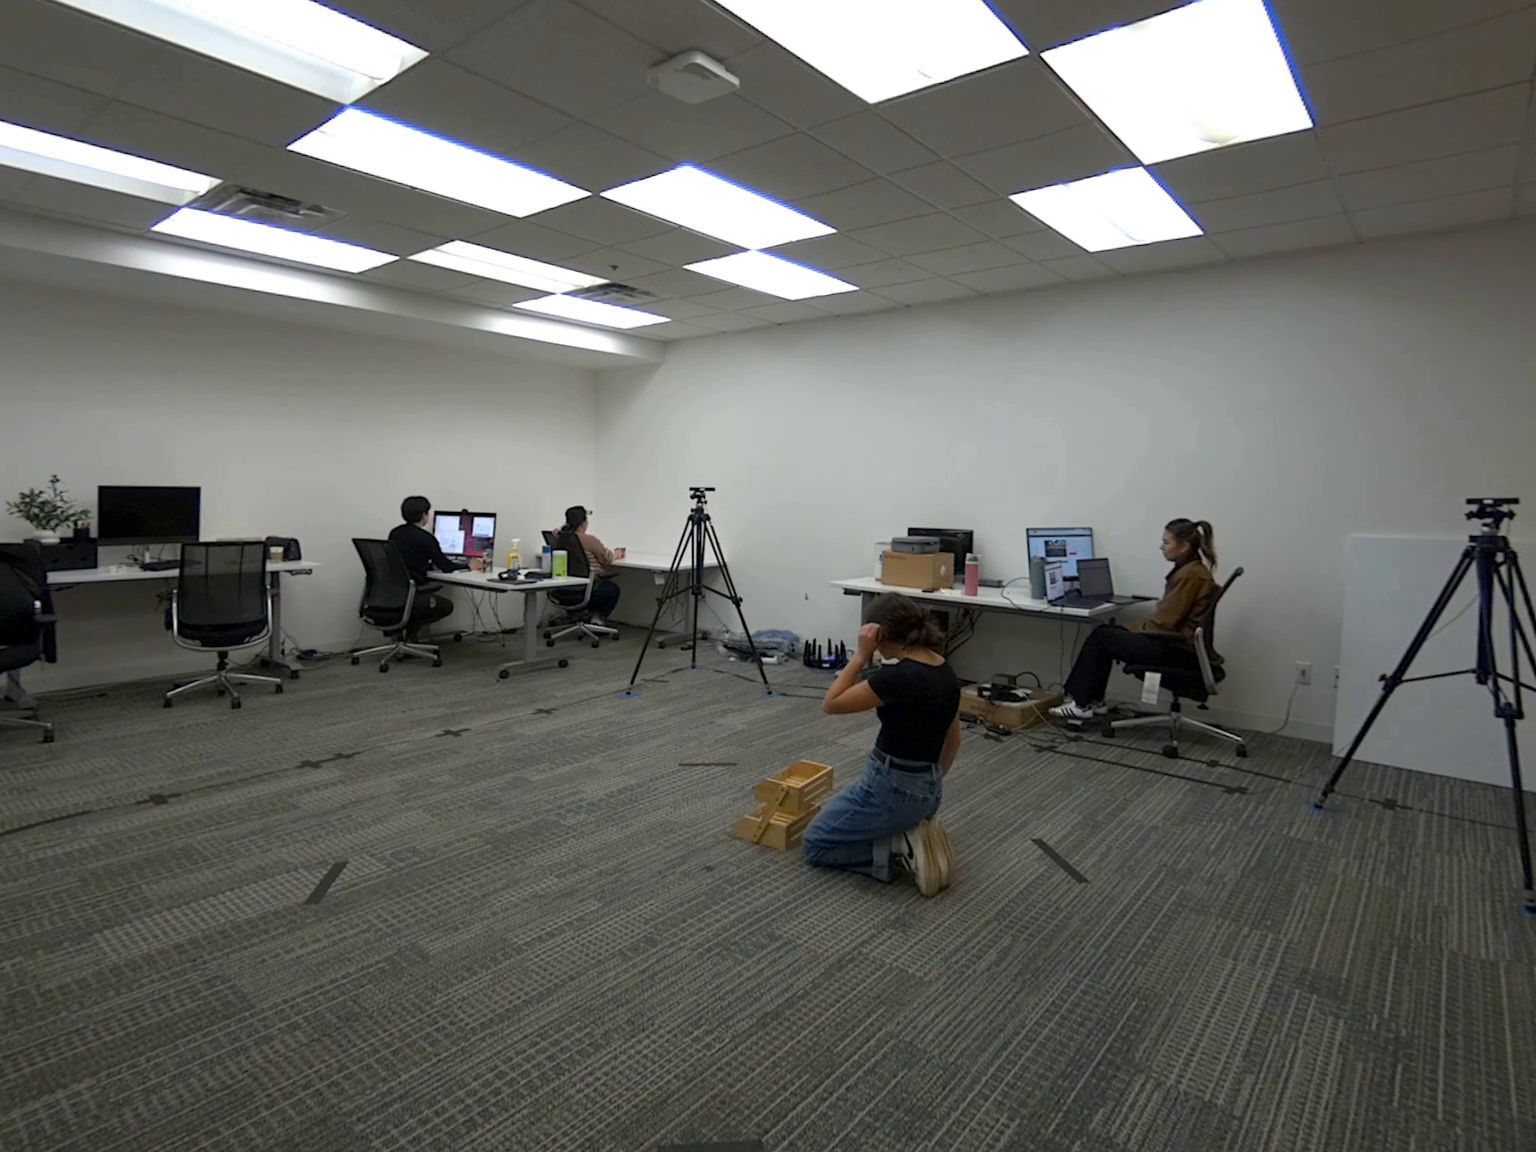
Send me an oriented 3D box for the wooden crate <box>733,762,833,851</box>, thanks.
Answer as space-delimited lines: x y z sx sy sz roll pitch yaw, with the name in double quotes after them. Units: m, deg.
0.049 0.906 3.449 0.311 0.272 0.316 5 6 32 "wooden crate"
